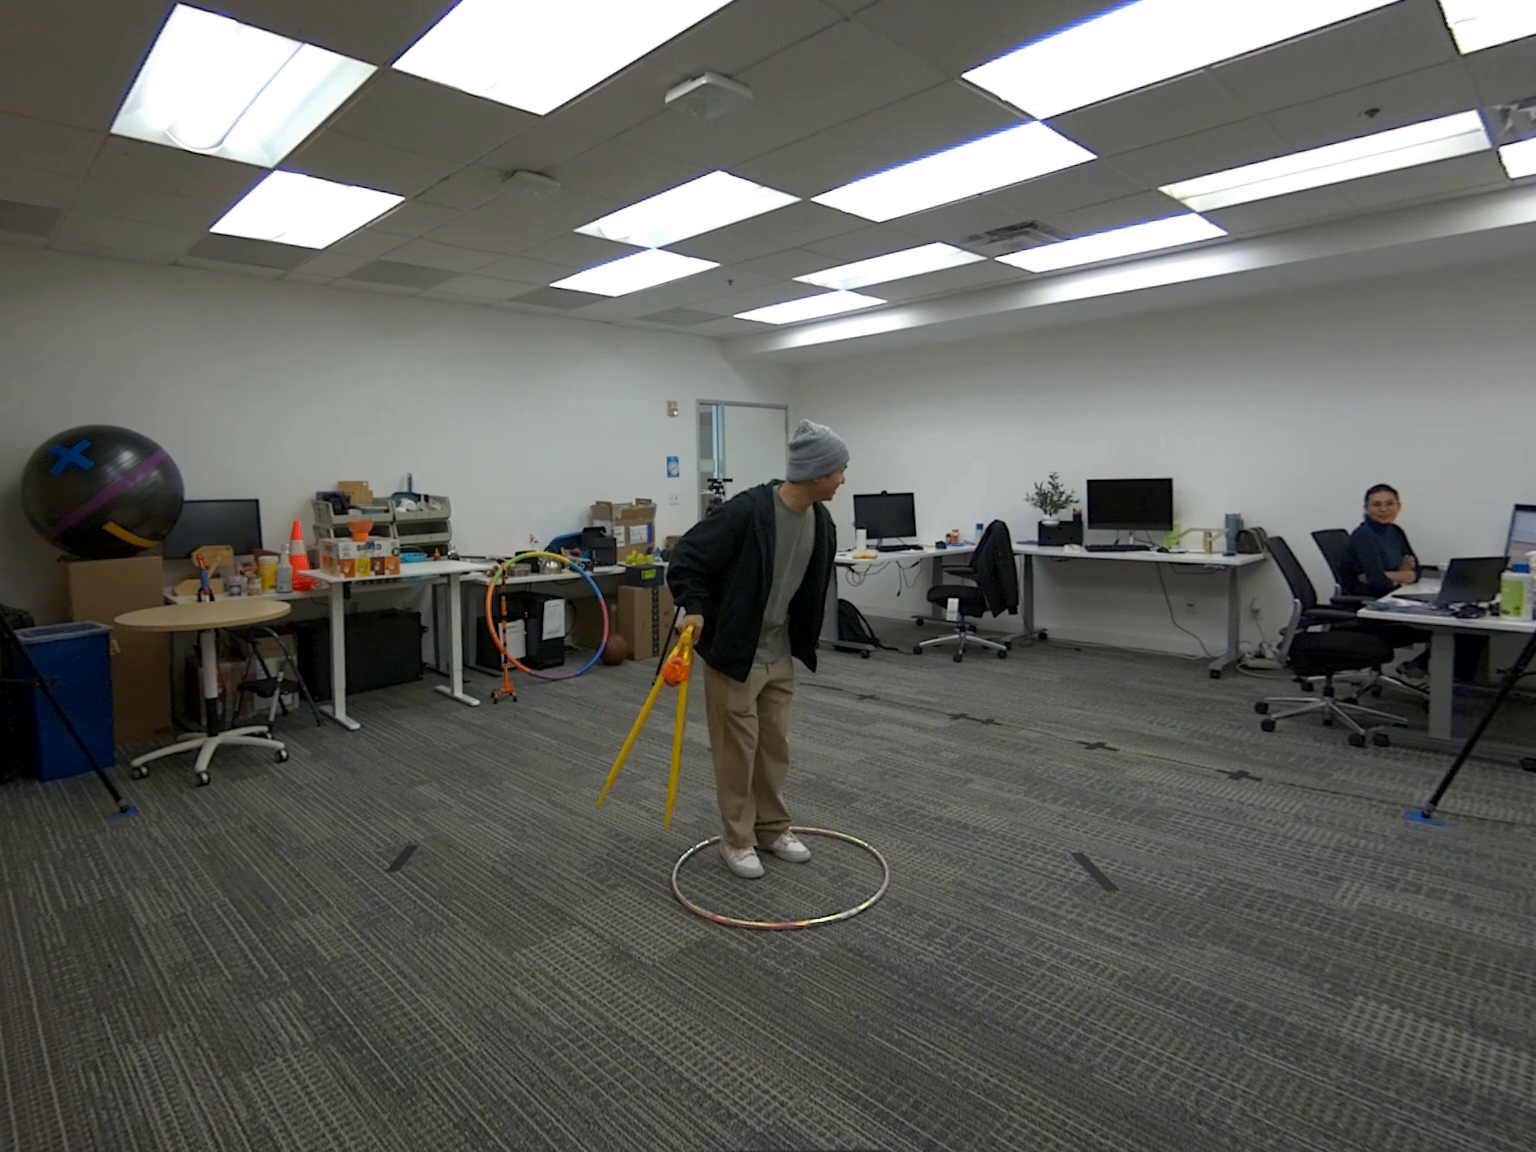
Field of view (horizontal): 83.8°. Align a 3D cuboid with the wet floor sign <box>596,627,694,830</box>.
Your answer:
[{"bbox_3d":[-0.337,0.485,2.884,0.291,0.644,0.282,15,5,2],"label":"wet floor sign"}]
